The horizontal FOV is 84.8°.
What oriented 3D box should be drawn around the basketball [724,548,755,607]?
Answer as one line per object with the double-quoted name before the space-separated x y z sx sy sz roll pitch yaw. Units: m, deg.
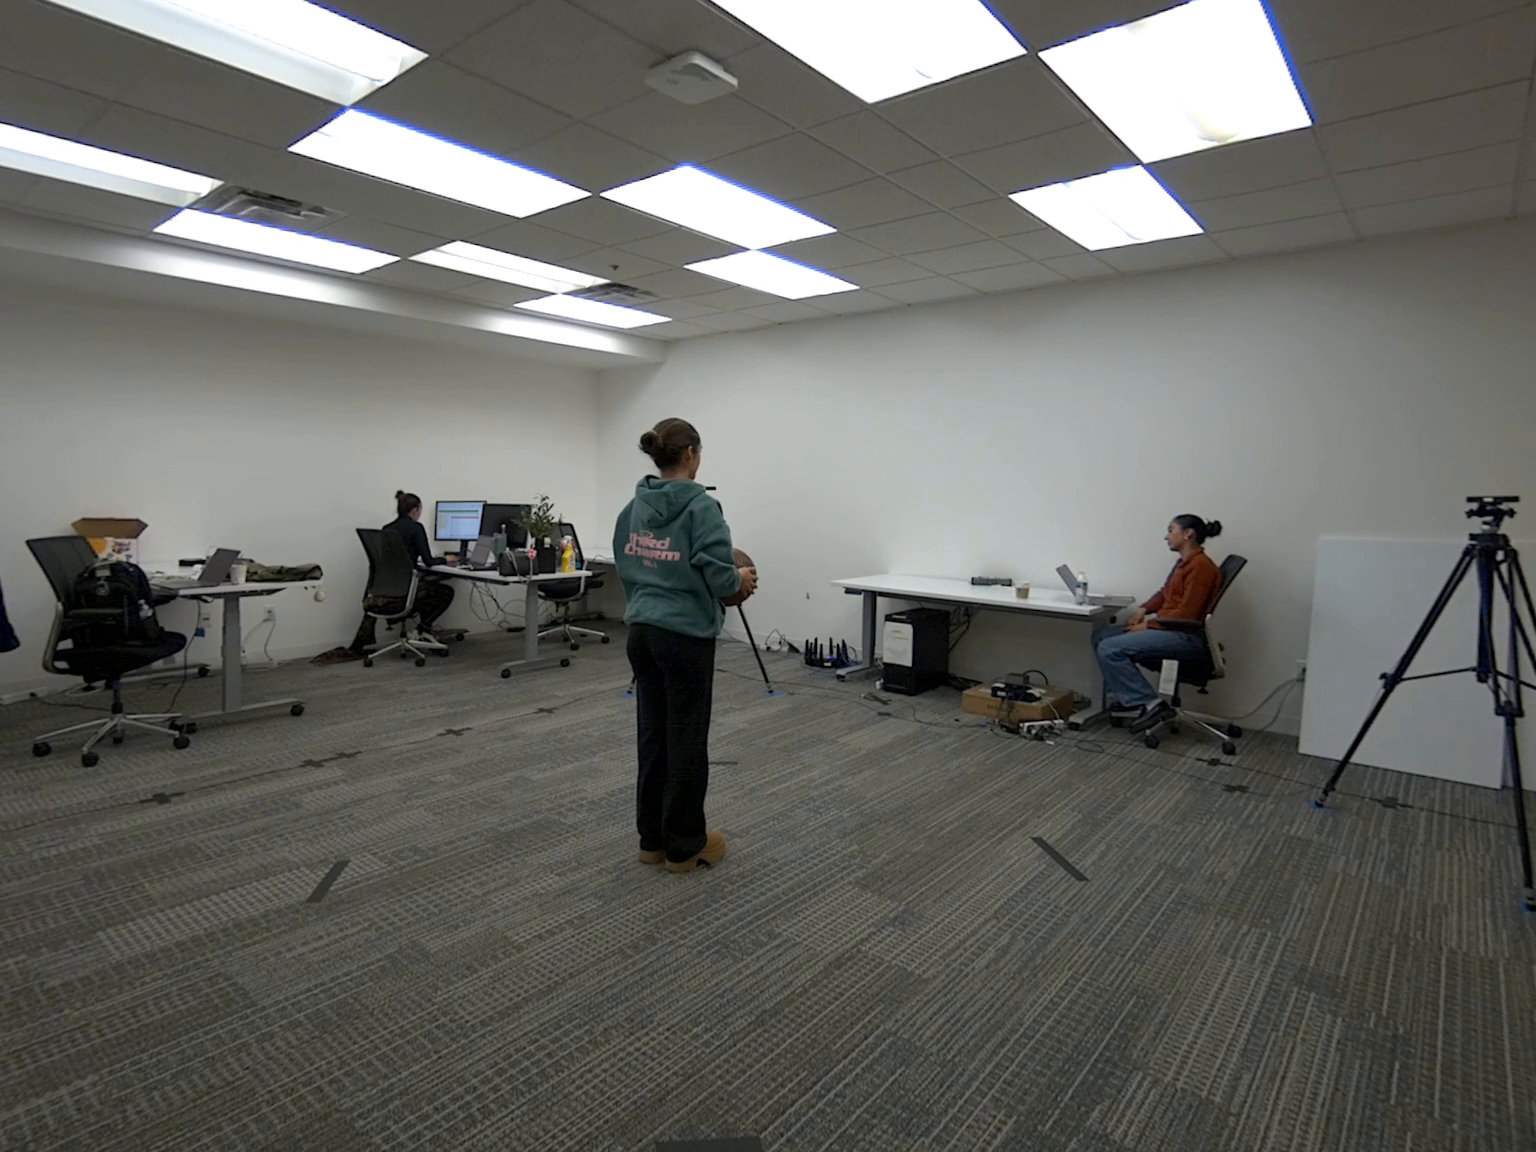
"basketball" -0.175 0.006 3.362 0.235 0.235 0.237 1 4 -2
